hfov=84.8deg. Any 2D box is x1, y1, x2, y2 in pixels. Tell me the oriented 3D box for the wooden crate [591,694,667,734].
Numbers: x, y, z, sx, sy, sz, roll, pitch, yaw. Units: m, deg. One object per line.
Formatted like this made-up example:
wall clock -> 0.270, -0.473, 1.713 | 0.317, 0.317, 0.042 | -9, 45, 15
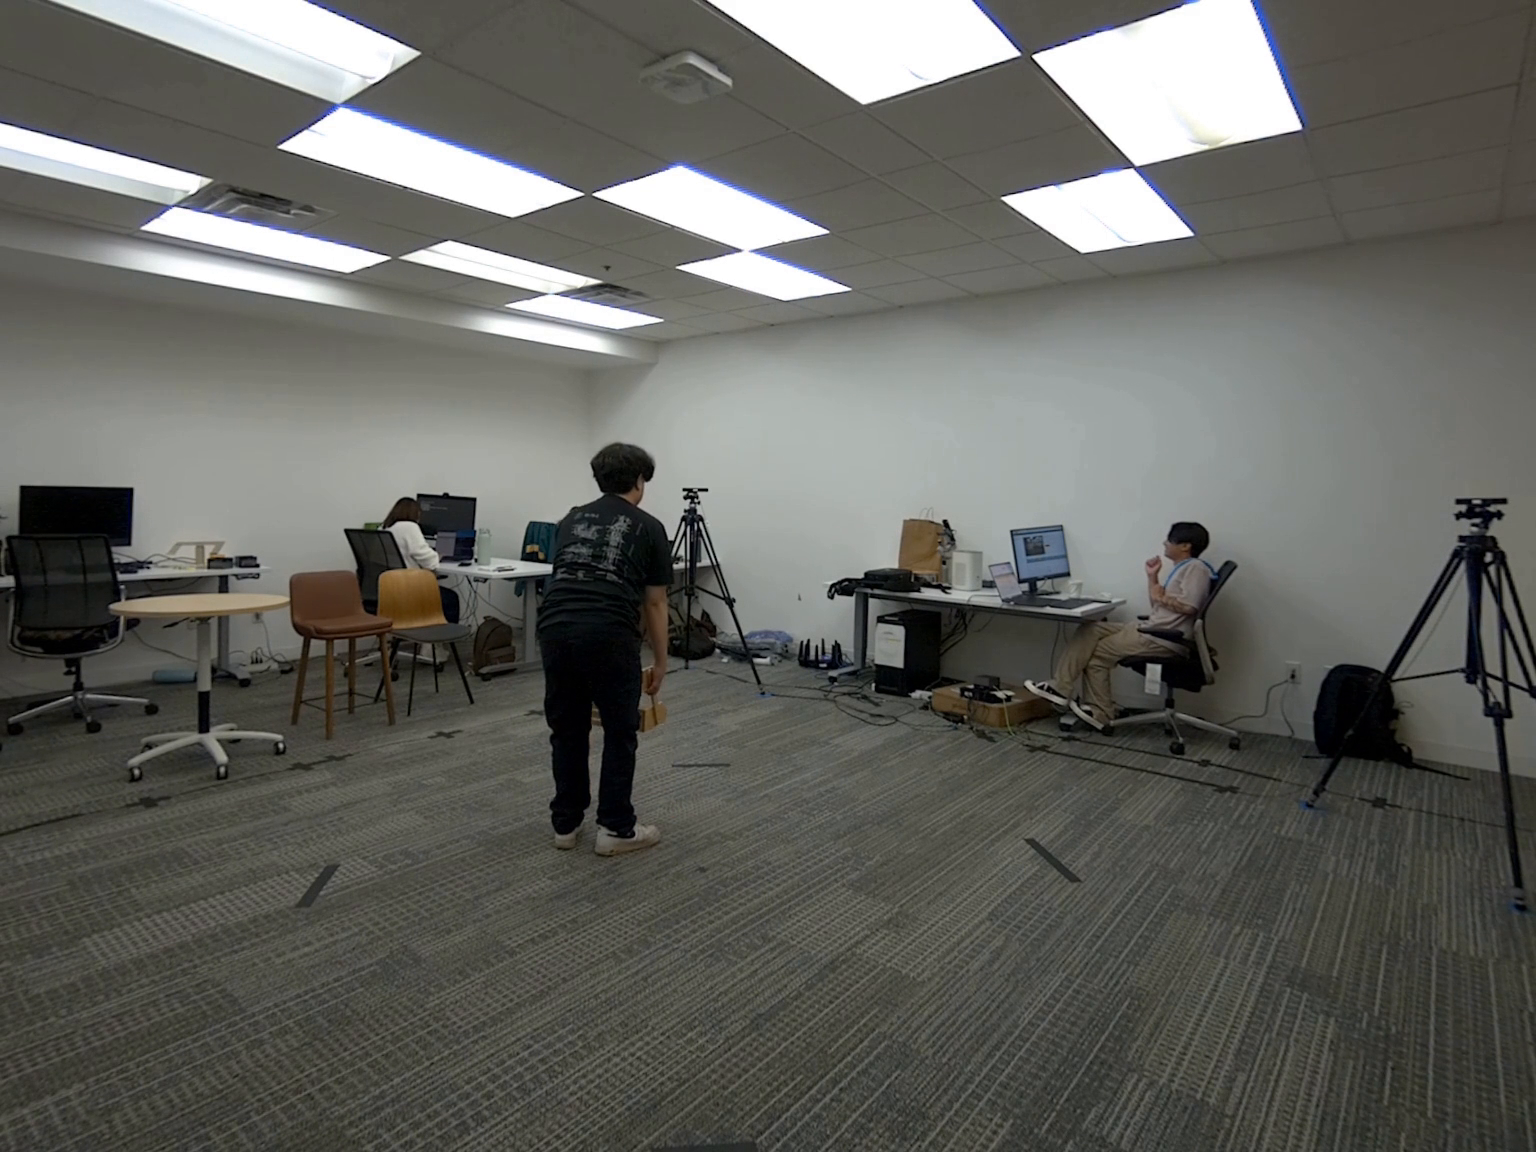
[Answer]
wooden crate -> -0.624, 0.477, 3.549 | 0.330, 0.273, 0.297 | 3, 2, 16
